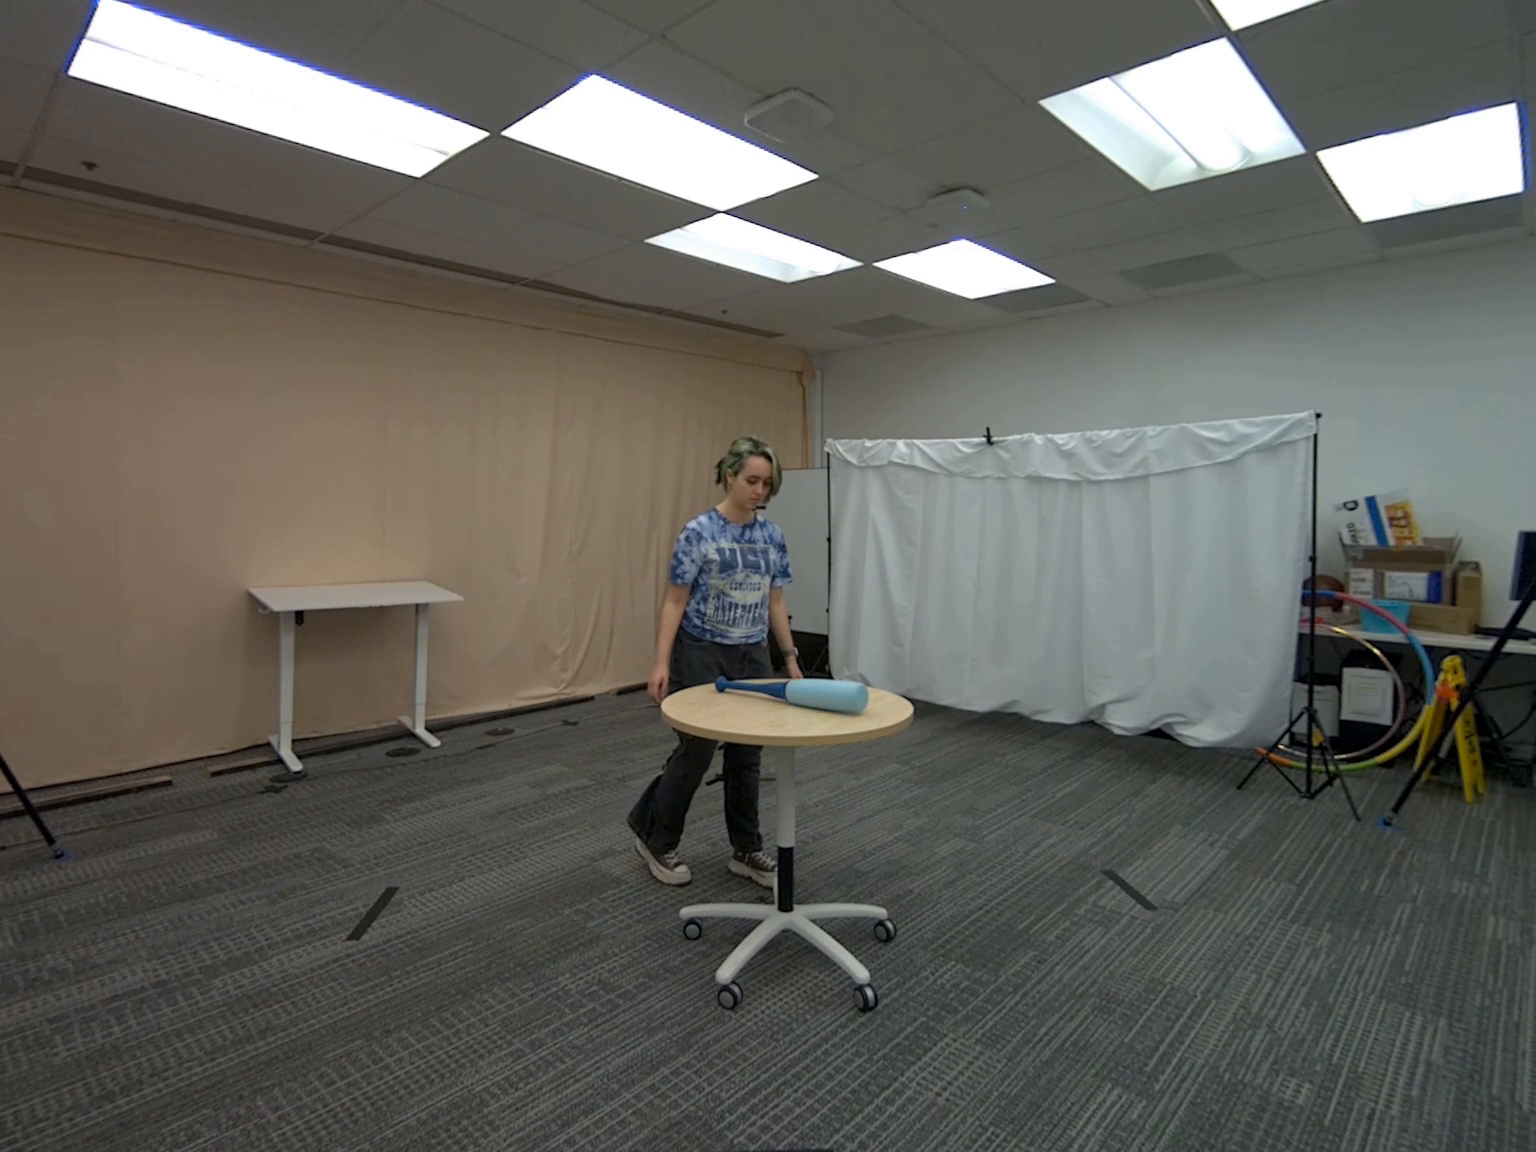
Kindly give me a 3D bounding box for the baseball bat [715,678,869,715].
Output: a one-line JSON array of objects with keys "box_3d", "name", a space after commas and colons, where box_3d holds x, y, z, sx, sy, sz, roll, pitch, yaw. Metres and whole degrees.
[{"box_3d": [0.053, 0.359, 2.589, 0.560, 0.089, 0.086, -1, 2, 37], "name": "baseball bat"}]
